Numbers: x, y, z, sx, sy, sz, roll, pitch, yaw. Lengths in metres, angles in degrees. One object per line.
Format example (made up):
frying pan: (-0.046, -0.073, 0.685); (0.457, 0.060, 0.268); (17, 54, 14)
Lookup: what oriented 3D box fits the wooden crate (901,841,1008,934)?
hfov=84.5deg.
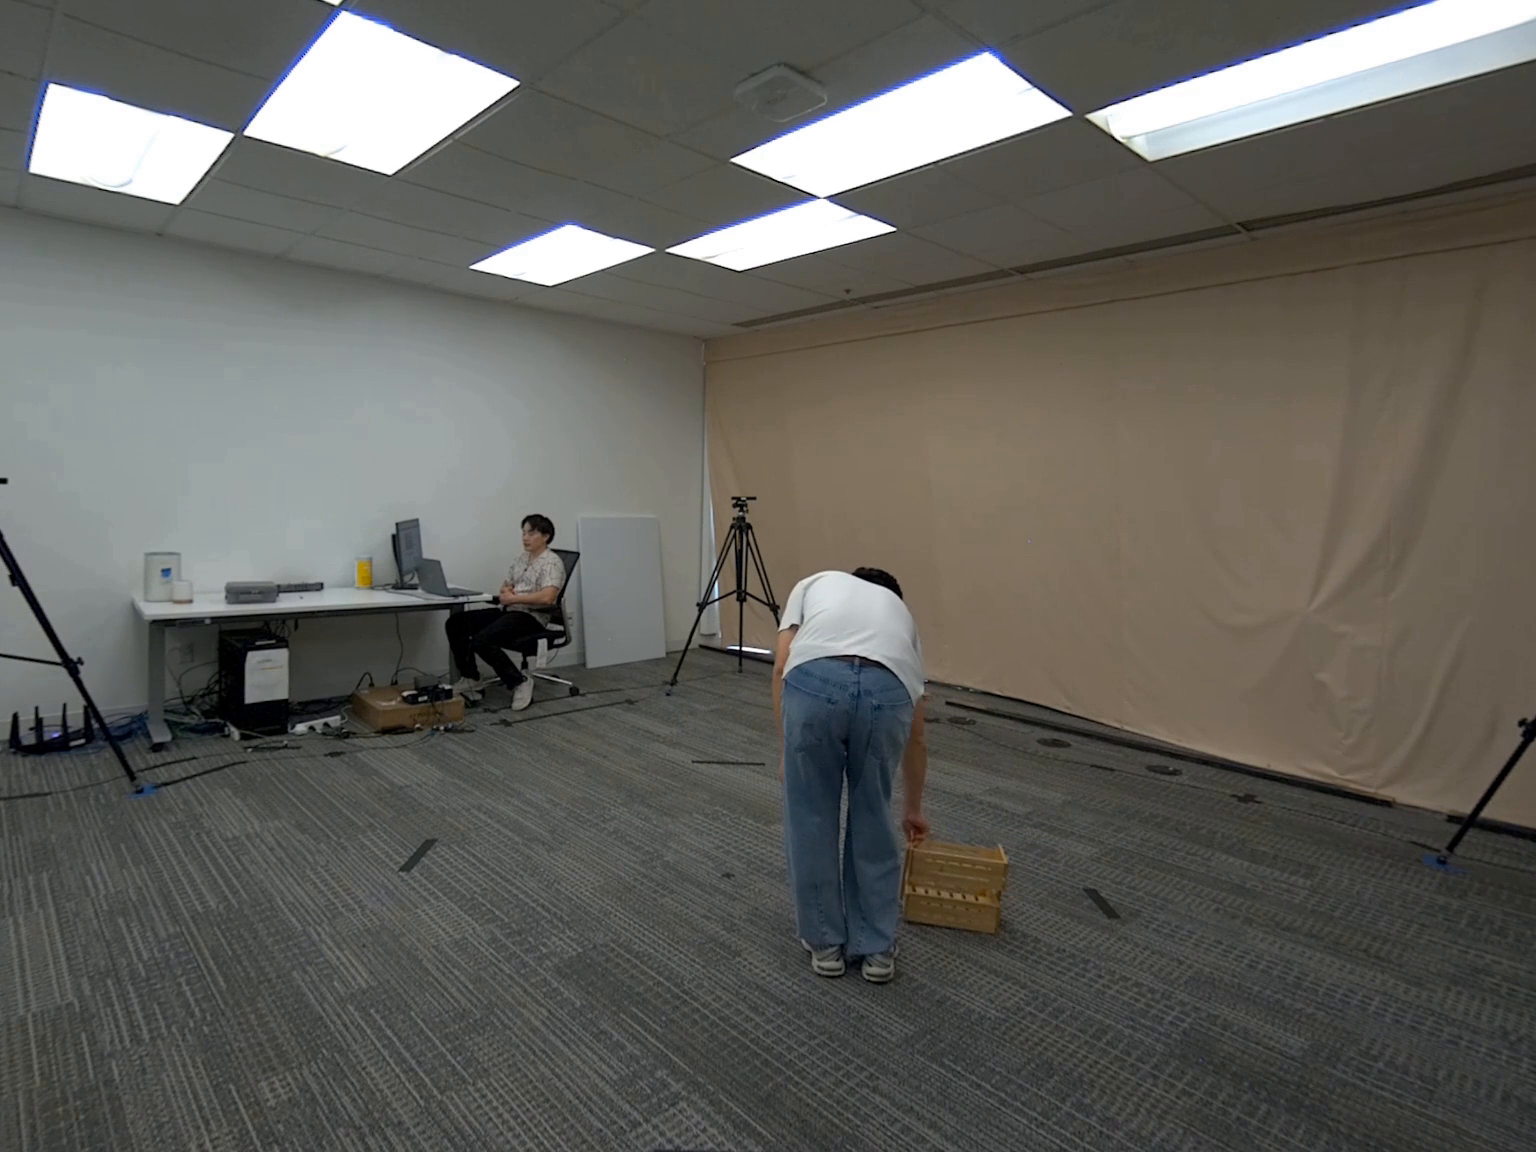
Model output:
wooden crate: (0.625, 1.011, 2.846); (0.327, 0.272, 0.300); (5, 5, 8)
